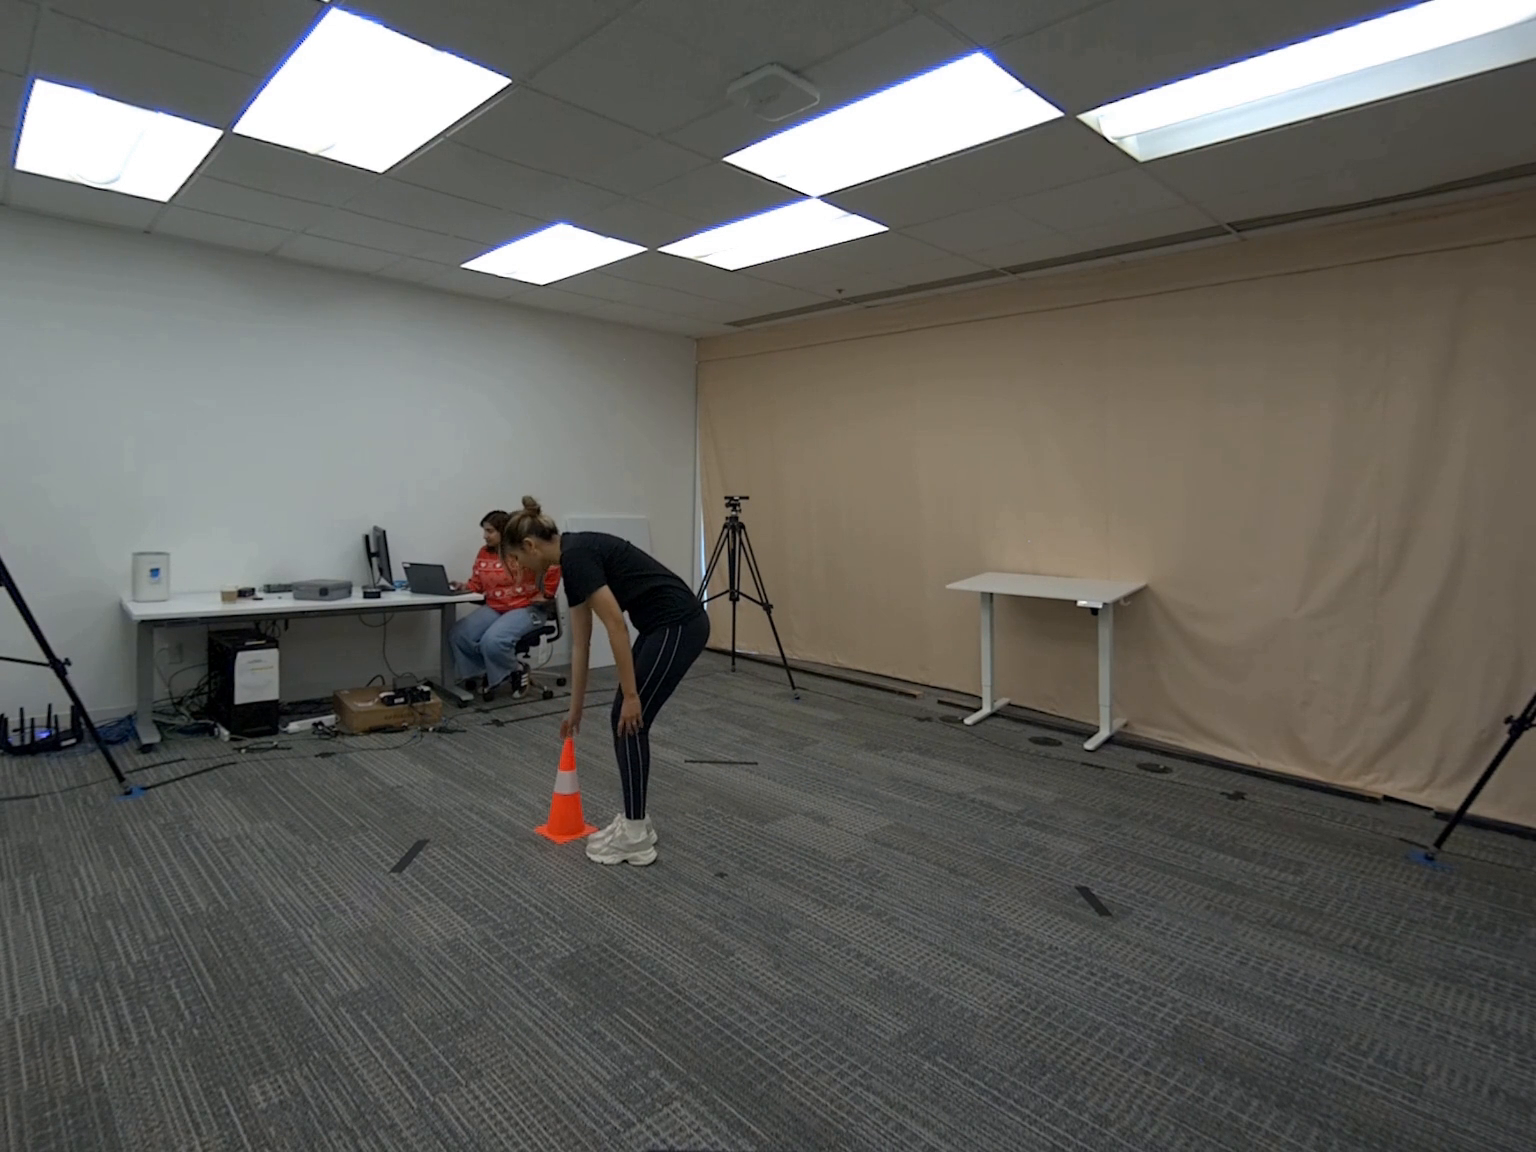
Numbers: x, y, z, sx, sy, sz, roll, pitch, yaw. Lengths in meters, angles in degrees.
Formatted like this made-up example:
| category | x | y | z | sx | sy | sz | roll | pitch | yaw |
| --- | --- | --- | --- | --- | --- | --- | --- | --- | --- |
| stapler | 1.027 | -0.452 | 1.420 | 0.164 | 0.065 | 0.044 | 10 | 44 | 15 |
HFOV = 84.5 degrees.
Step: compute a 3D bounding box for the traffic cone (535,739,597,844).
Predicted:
| category | x | y | z | sx | sy | sz | roll | pitch | yaw |
| --- | --- | --- | --- | --- | --- | --- | --- | --- | --- |
| traffic cone | -0.837 | 0.866 | 3.482 | 0.200 | 0.383 | 0.208 | 1 | 4 | -41 |
